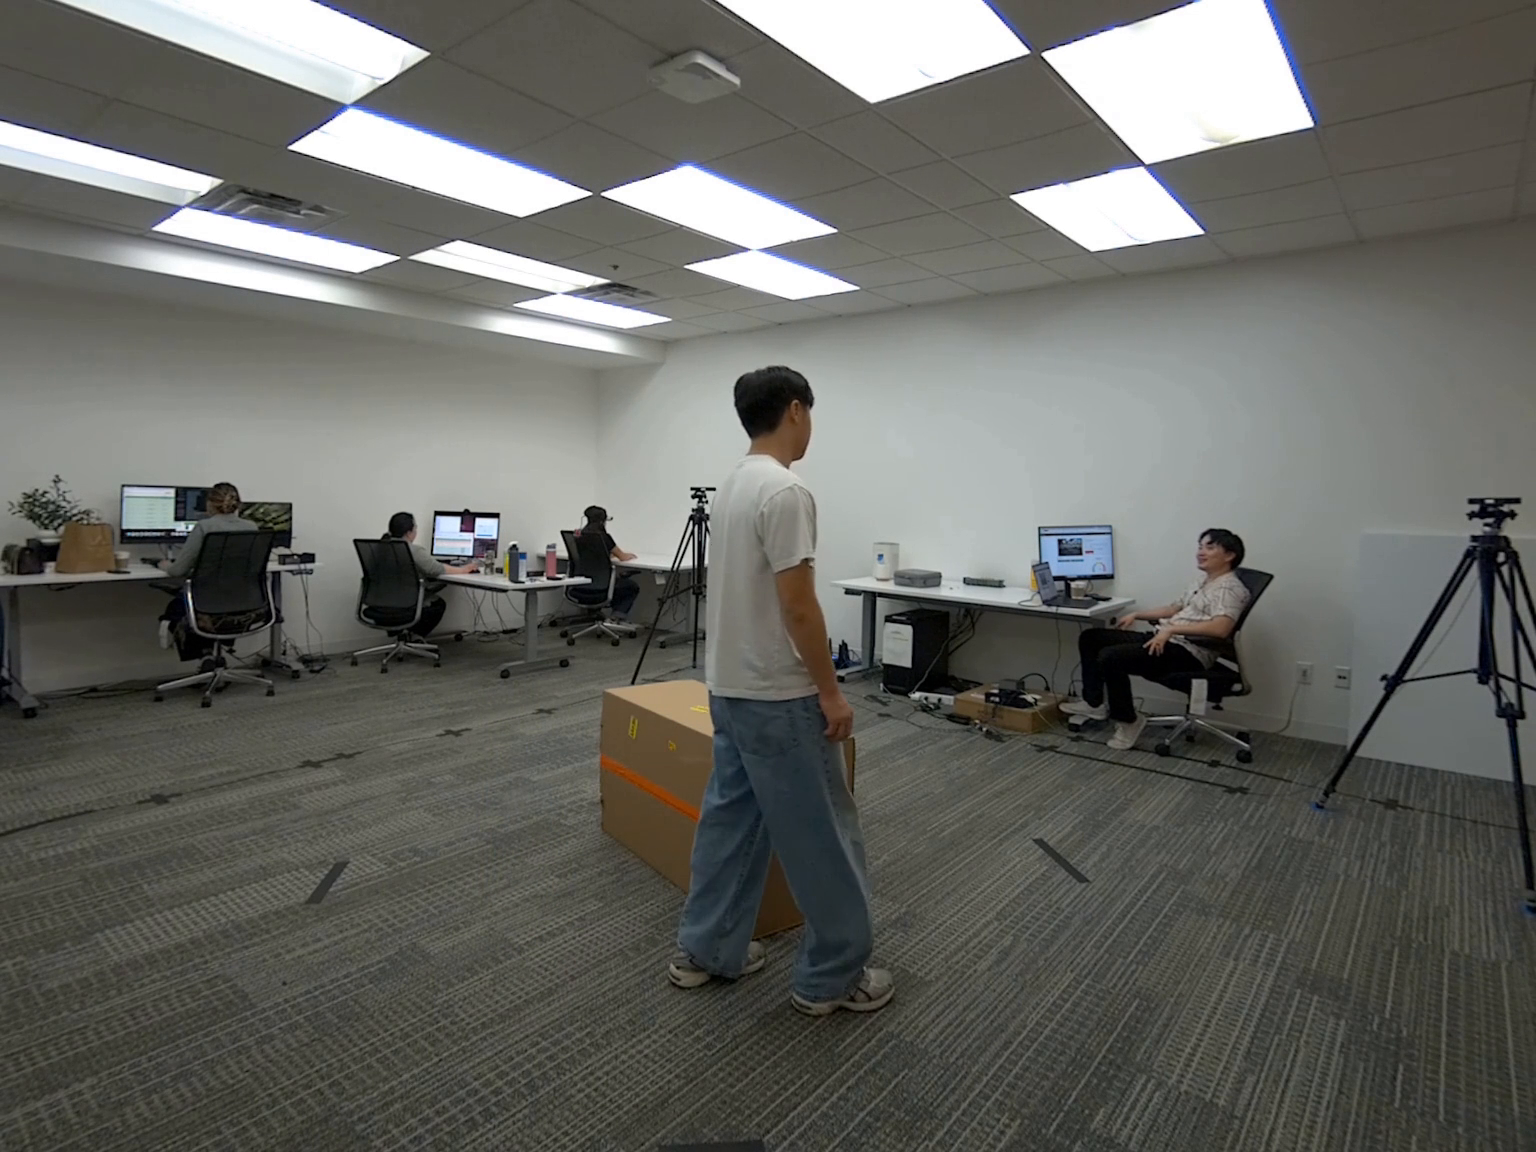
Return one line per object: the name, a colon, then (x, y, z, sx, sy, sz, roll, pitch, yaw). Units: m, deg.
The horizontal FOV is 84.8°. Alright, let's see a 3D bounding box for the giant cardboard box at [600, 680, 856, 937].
giant cardboard box: (-0.207, 0.777, 3.125, 0.414, 0.575, 1.060, -1, 5, -36)
